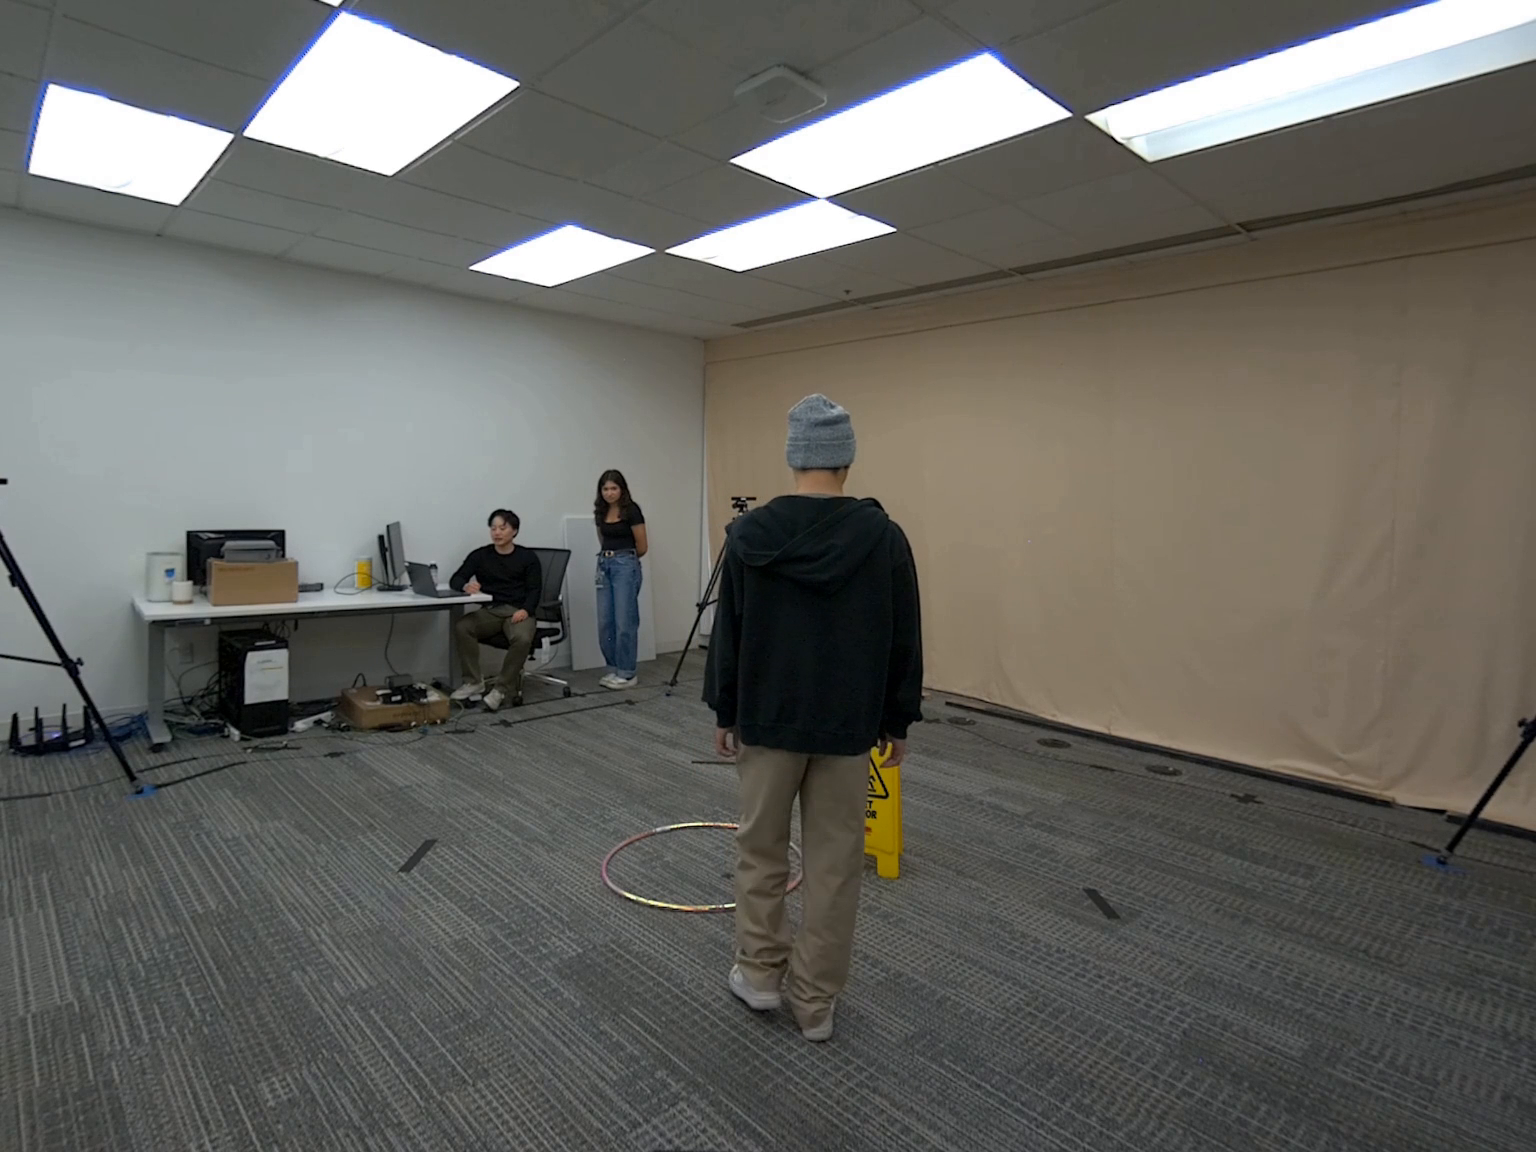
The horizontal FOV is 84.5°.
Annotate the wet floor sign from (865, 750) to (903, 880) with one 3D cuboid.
[{"bbox_3d":[0.373,0.788,3.248,0.286,0.645,0.287,1,2,14],"label":"wet floor sign"}]
